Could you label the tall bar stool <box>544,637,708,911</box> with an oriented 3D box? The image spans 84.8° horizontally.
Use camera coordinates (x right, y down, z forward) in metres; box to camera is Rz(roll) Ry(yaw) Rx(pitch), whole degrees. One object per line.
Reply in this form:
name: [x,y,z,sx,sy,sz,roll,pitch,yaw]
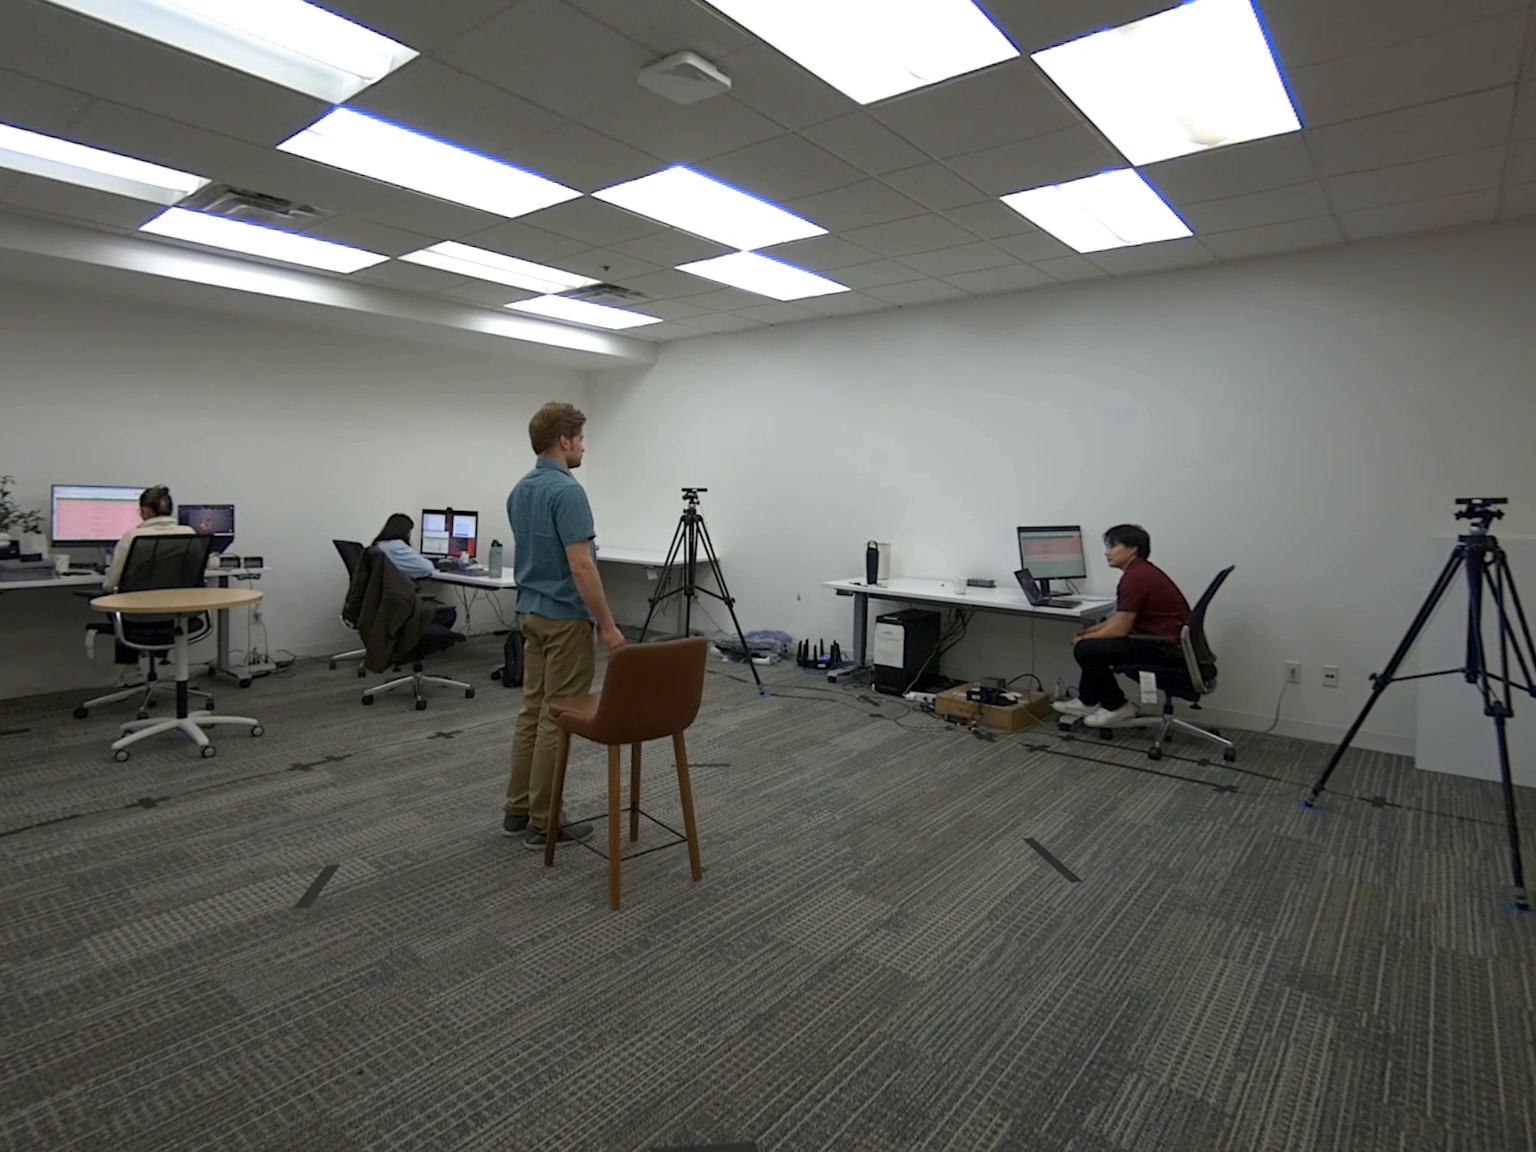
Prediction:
tall bar stool: [-0.516,0.634,3.055,0.442,0.886,0.484,-1,6,-41]
